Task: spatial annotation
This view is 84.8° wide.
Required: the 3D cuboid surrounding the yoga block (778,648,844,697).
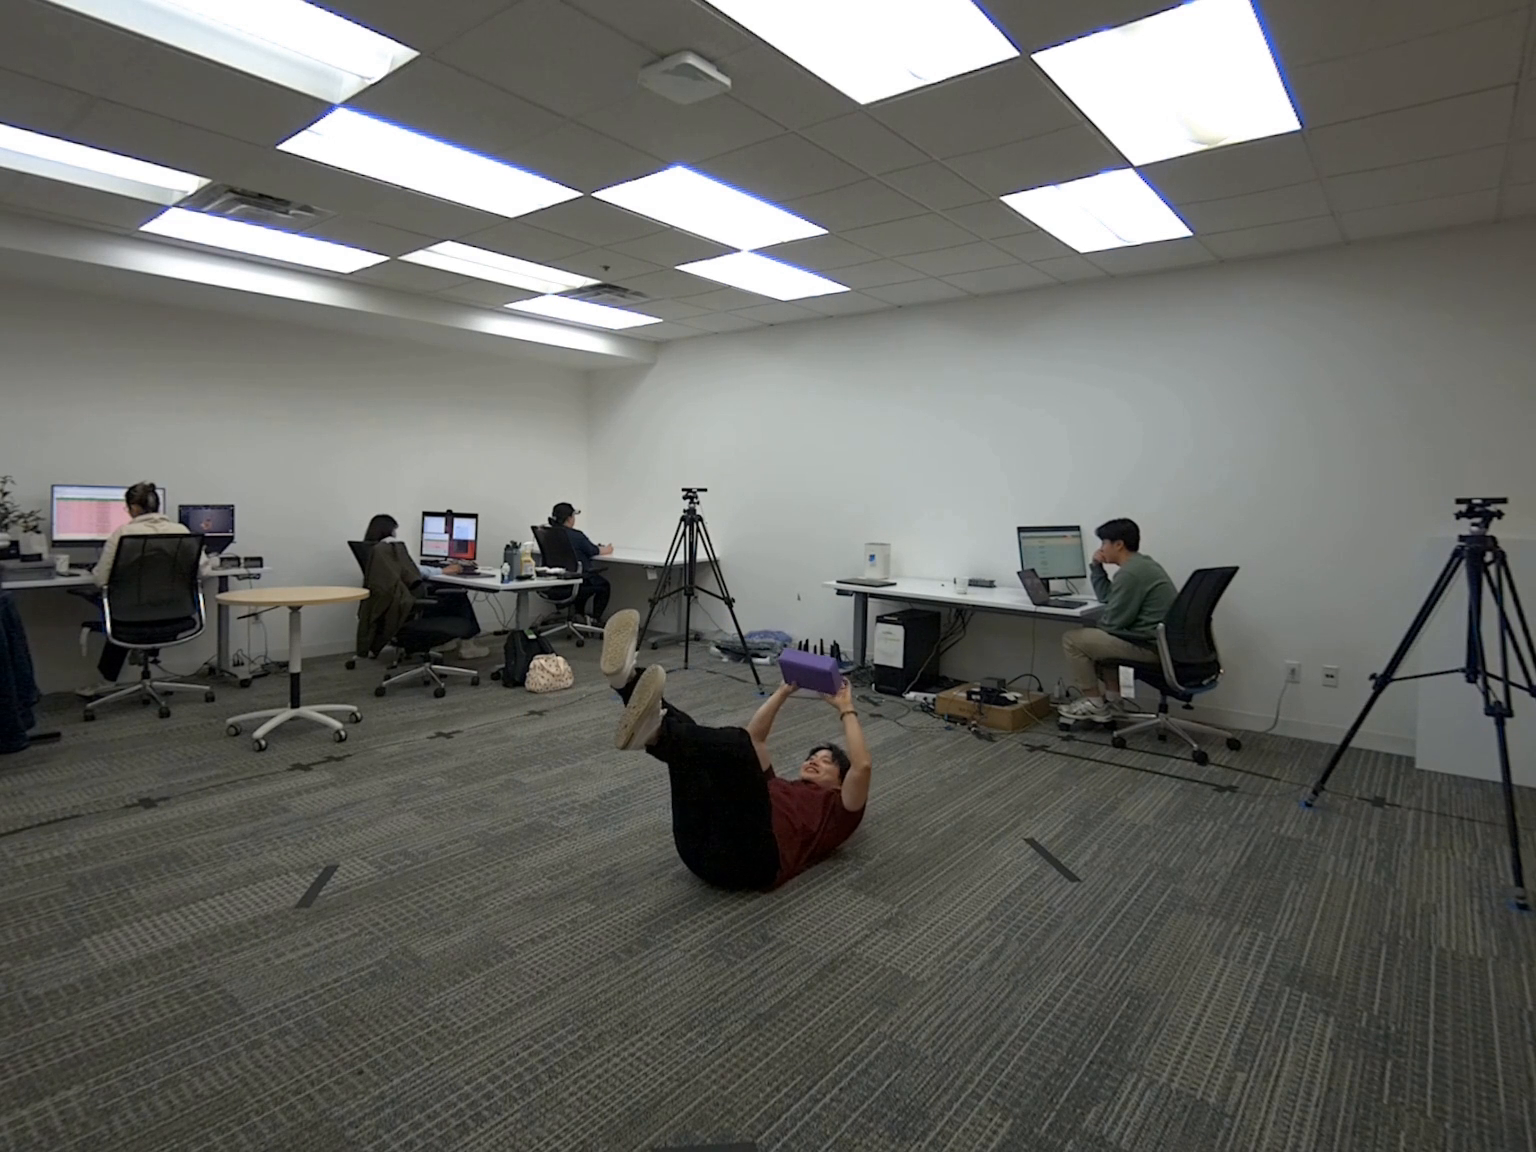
[{"bbox_3d":[0.136,0.366,3.349,0.236,0.144,0.077,8,44,30],"label":"yoga block"}]
